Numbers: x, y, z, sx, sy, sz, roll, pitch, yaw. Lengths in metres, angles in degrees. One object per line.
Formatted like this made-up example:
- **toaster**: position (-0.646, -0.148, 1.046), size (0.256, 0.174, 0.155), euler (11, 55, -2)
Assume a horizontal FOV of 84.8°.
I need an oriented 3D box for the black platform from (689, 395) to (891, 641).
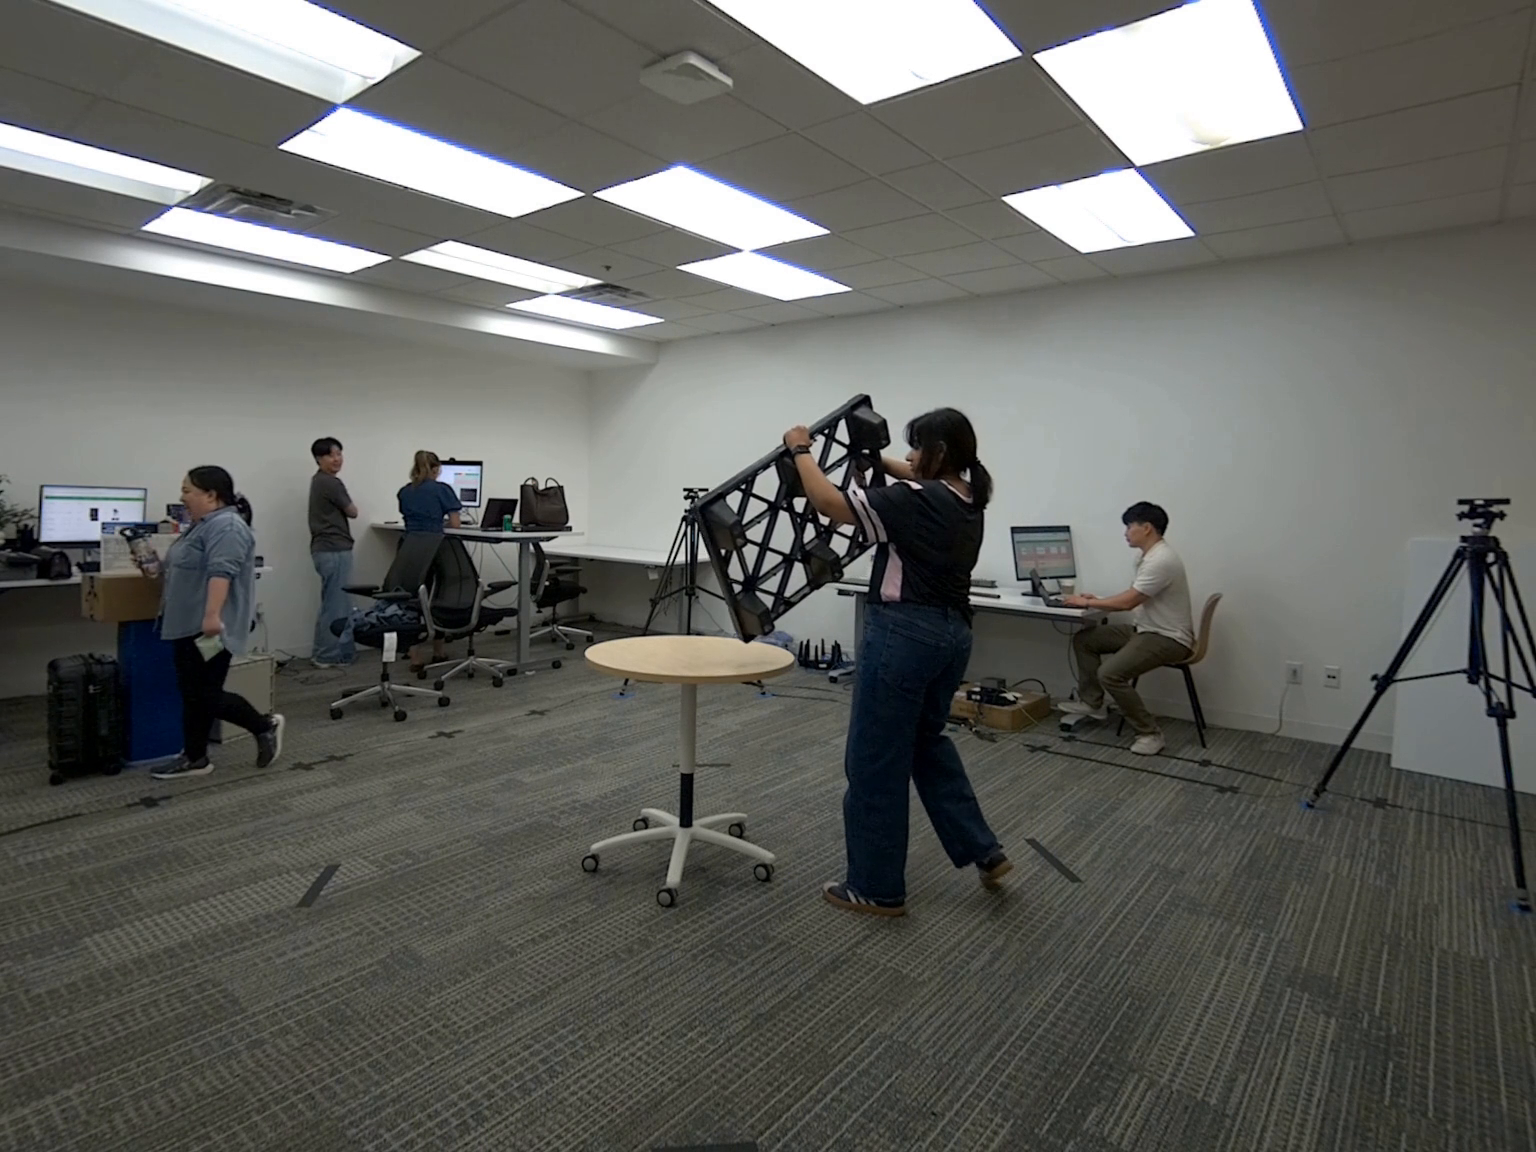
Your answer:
- **black platform**: position (0.158, -0.195, 2.986), size (0.800, 0.585, 0.149), euler (-36, 37, -24)
